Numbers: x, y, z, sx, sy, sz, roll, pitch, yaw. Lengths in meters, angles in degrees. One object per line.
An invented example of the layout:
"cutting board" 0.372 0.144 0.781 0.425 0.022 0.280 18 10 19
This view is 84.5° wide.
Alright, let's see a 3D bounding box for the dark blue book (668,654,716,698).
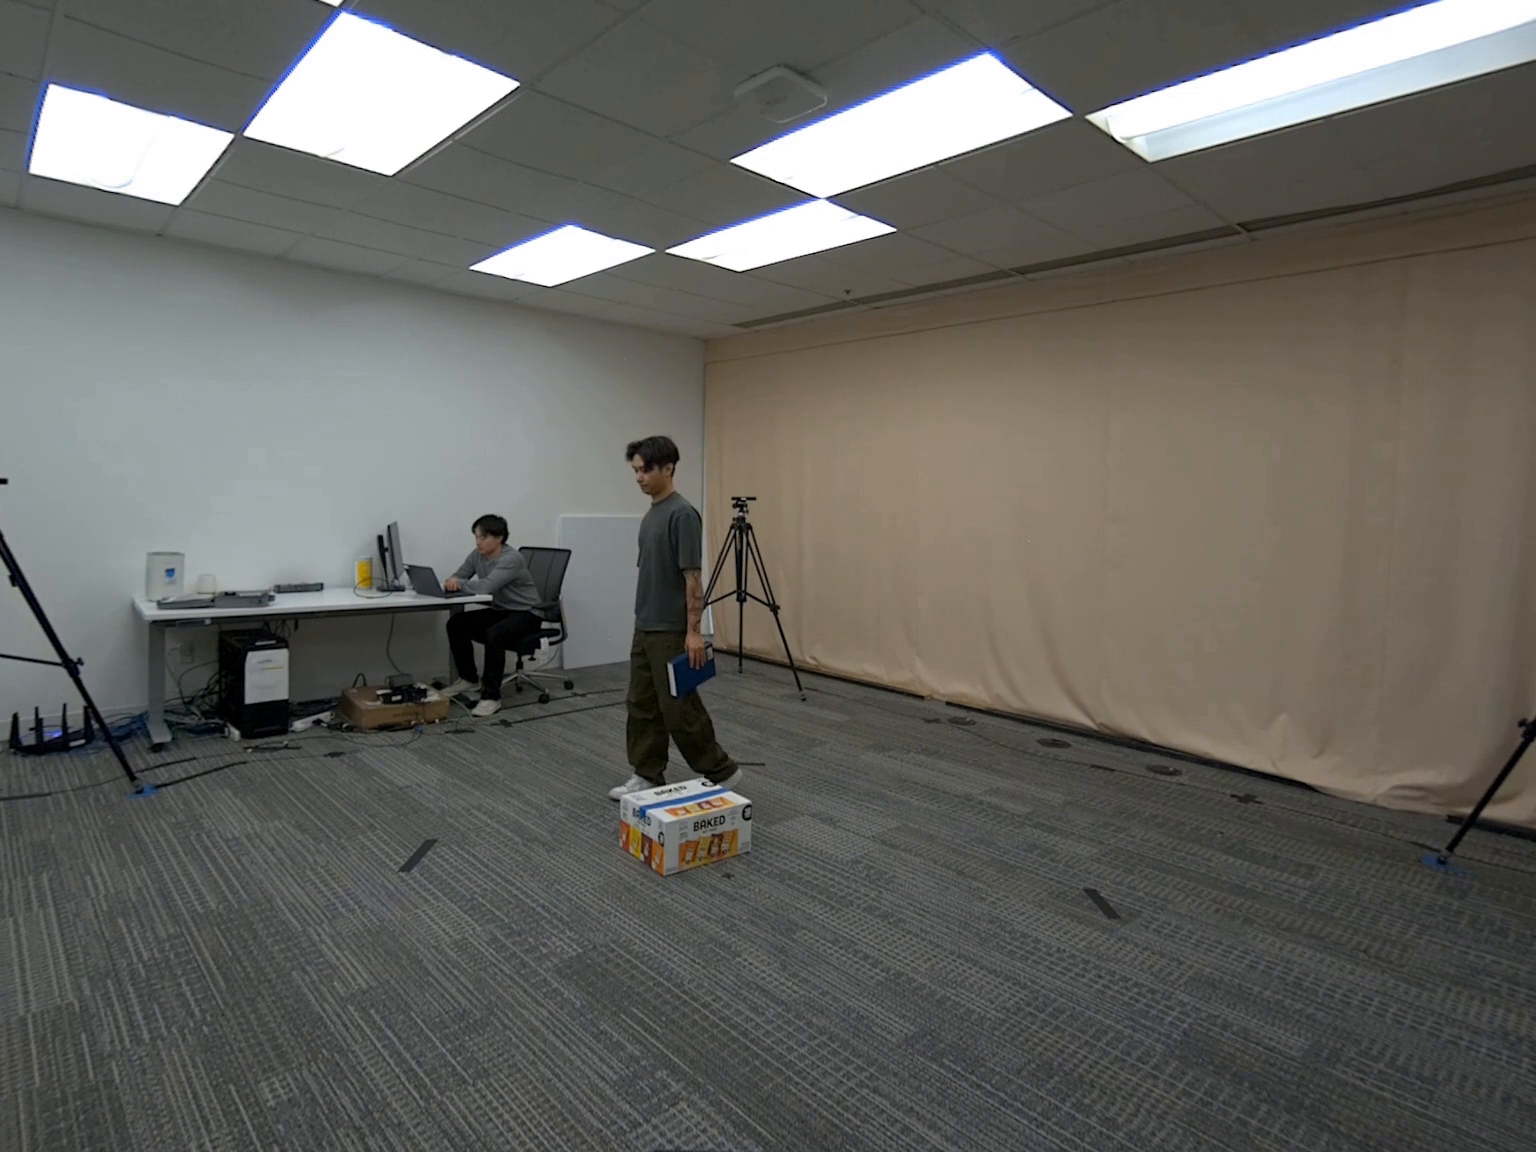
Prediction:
"dark blue book" -0.345 0.404 3.659 0.046 0.161 0.242 8 23 41
